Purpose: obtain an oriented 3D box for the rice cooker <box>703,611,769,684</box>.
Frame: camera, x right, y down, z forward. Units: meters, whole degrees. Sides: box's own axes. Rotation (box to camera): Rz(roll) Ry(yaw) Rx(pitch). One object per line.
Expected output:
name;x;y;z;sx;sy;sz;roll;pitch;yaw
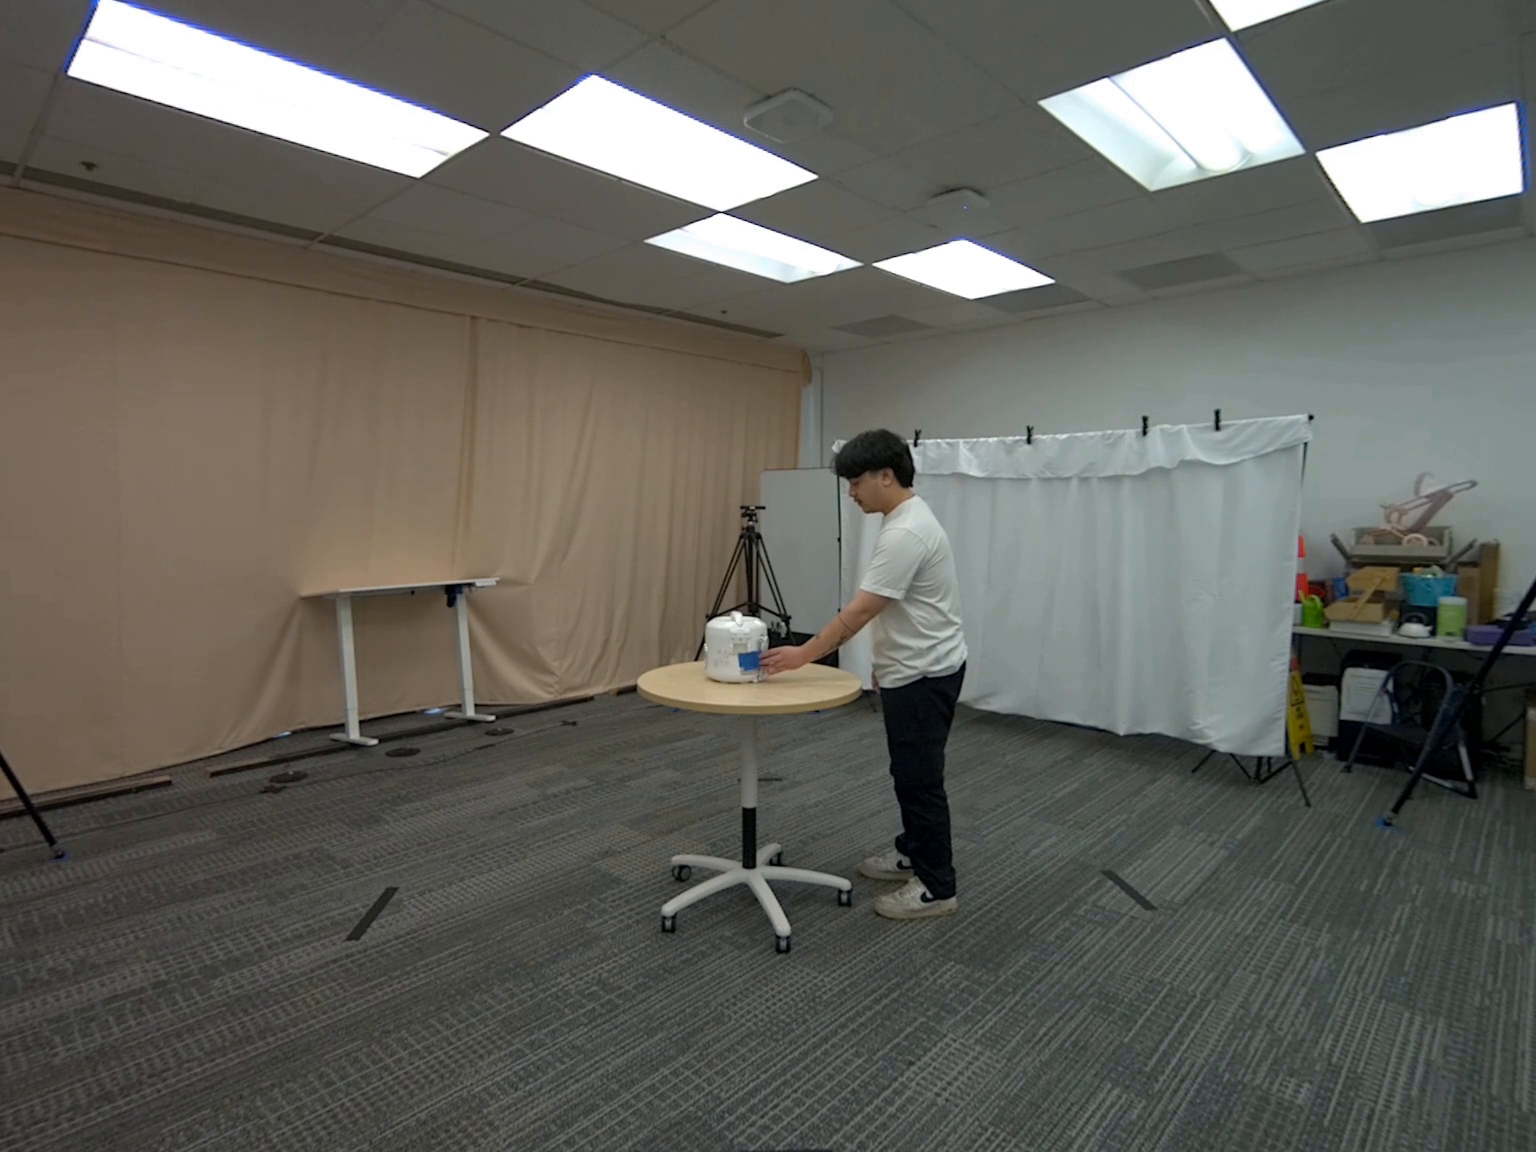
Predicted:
rice cooker;-0.111;0.238;2.899;0.216;0.232;0.223;-1;4;-8
